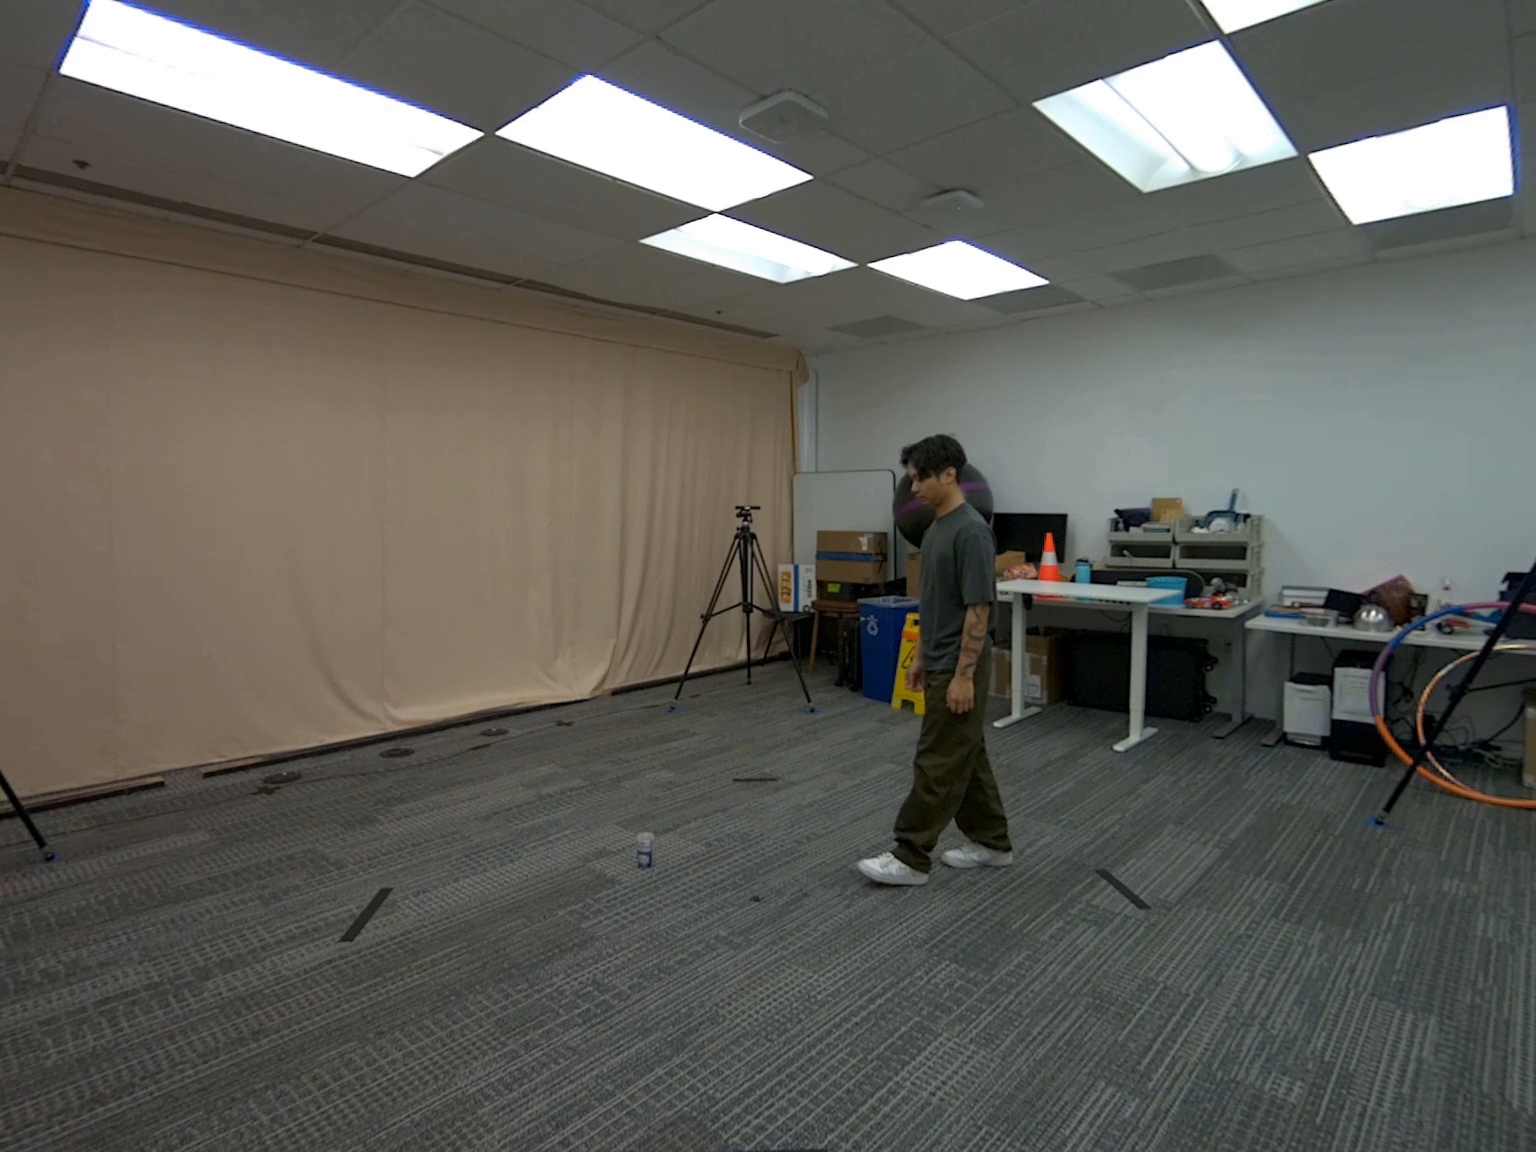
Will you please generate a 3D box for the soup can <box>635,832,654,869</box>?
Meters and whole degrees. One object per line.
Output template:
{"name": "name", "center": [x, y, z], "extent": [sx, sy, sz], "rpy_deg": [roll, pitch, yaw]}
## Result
{"name": "soup can", "center": [-0.473, 1.070, 3.270], "extent": [0.067, 0.121, 0.067], "rpy_deg": [-1, 2, -2]}
